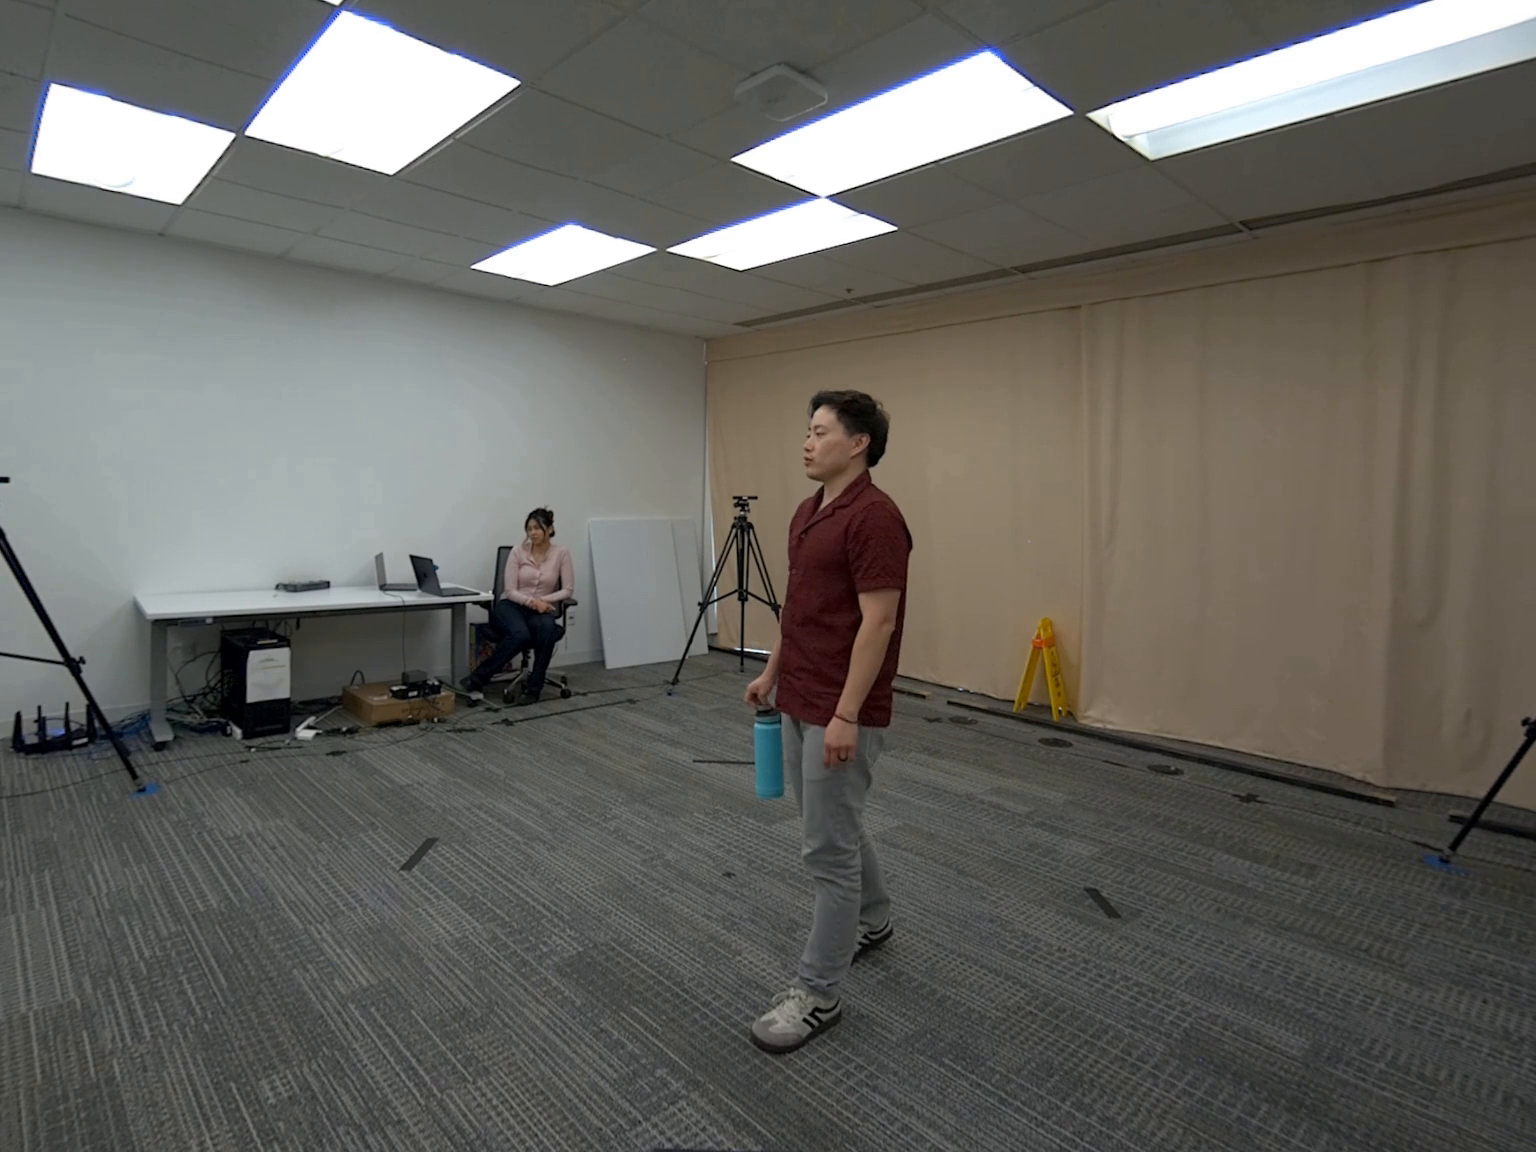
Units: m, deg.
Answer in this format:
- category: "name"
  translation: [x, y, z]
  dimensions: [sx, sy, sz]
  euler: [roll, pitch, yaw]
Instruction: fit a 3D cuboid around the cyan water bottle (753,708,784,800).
- category: "cyan water bottle"
  translation: [-0.002, 0.544, 2.603]
  dimensions: [0.092, 0.283, 0.092]
  euler: [-3, 3, -1]
